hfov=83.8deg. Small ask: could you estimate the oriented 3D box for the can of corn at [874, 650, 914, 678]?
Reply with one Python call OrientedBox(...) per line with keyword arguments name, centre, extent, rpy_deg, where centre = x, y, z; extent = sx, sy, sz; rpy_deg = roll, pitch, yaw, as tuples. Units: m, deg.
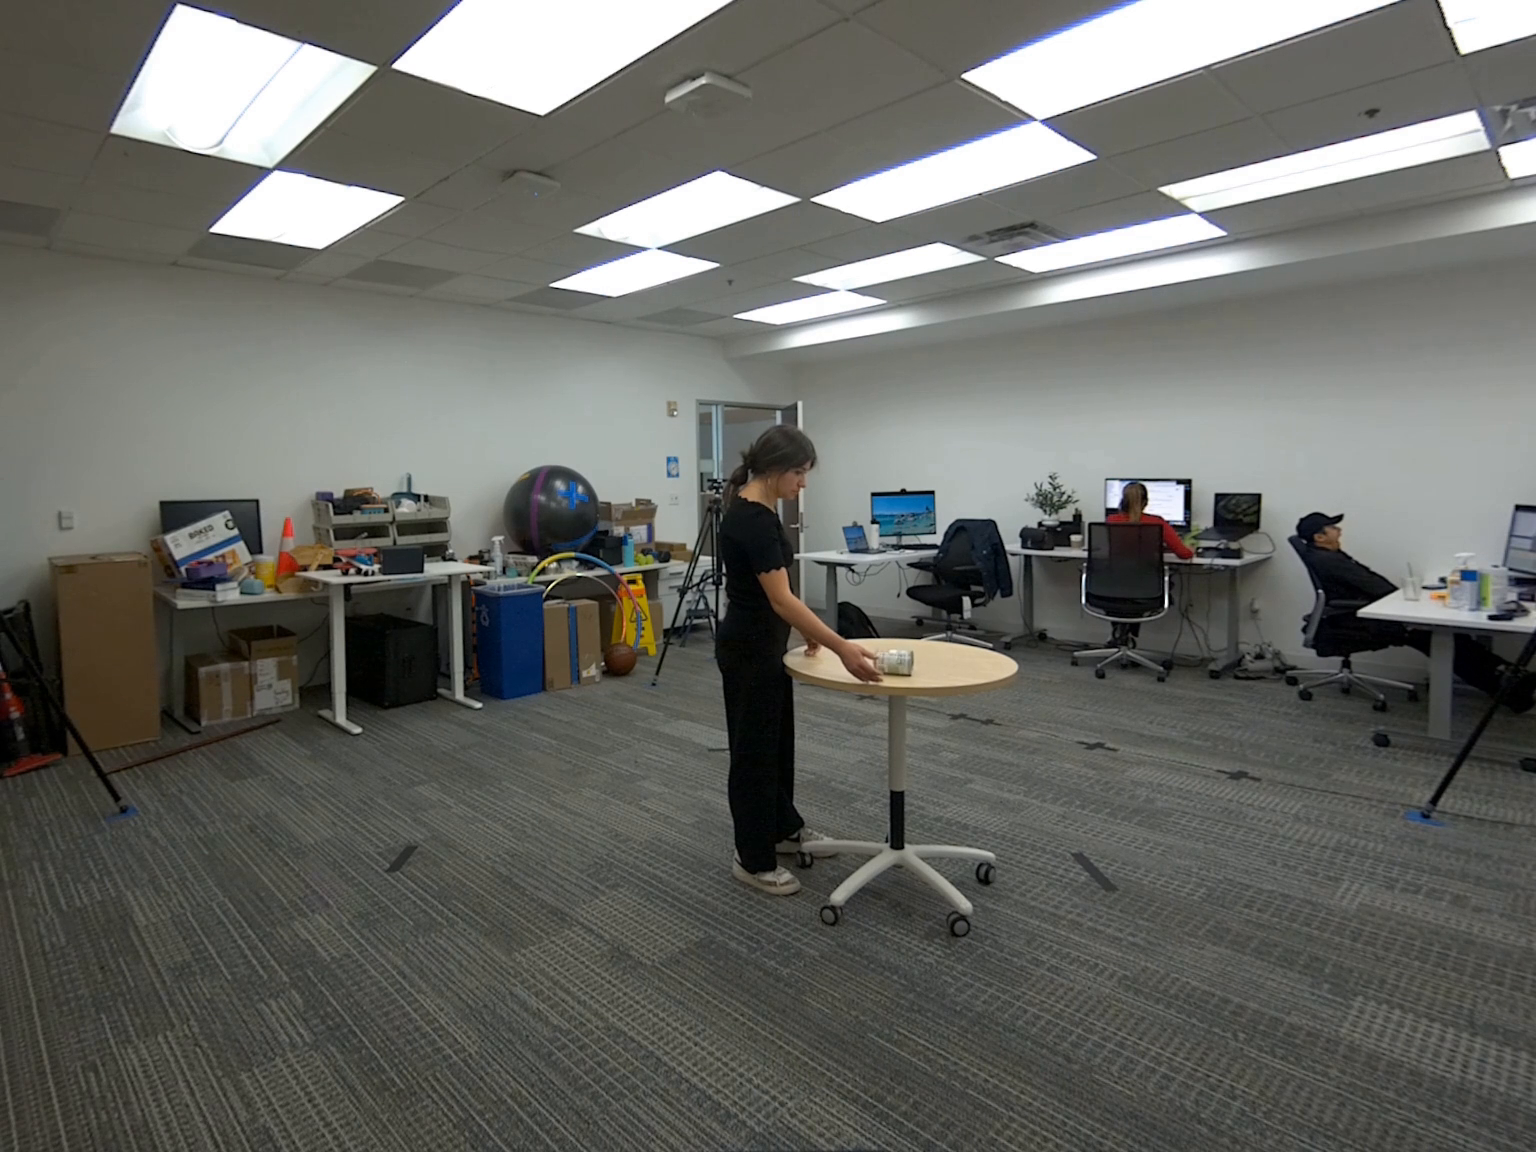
OrientedBox(name="can of corn", centre=(0.391, 0.265, 2.643), extent=(0.113, 0.074, 0.073), rpy_deg=(1, 5, 19))
